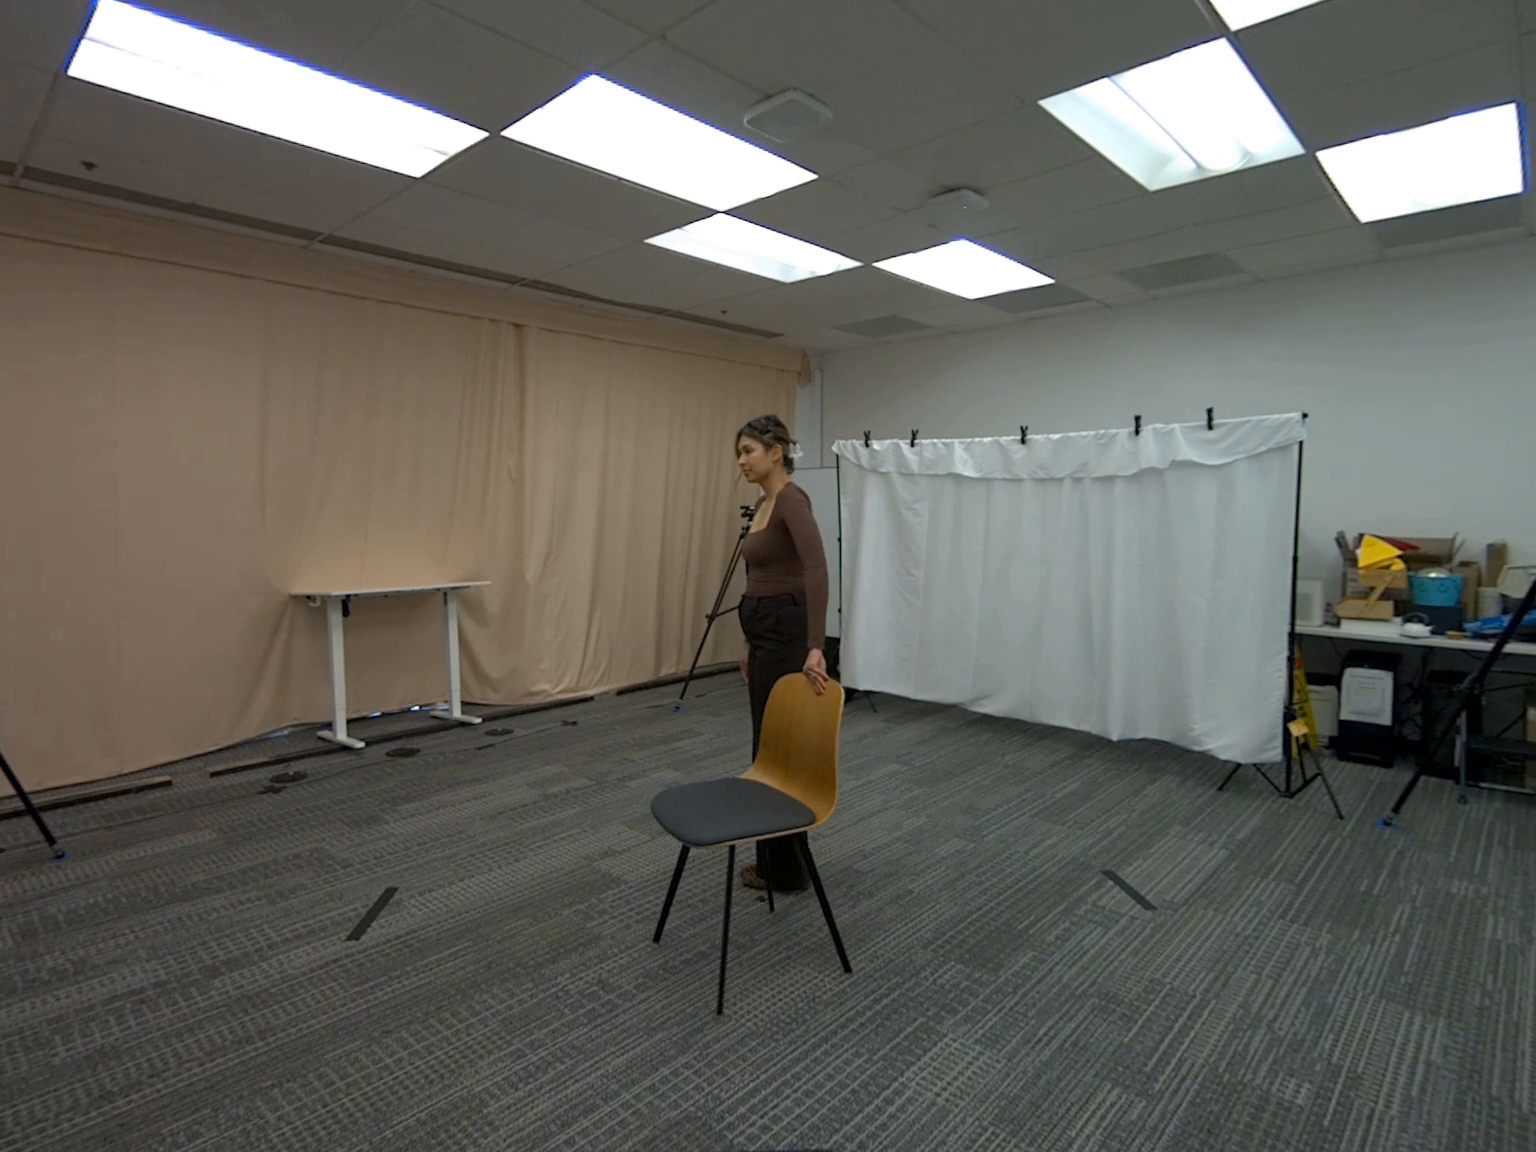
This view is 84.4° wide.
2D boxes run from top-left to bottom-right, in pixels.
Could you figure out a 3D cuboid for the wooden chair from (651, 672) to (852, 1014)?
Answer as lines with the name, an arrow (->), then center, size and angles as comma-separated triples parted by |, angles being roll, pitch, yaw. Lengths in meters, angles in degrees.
wooden chair -> -0.062, 0.753, 2.571 | 0.508, 0.876, 0.492 | 3, 2, -30
